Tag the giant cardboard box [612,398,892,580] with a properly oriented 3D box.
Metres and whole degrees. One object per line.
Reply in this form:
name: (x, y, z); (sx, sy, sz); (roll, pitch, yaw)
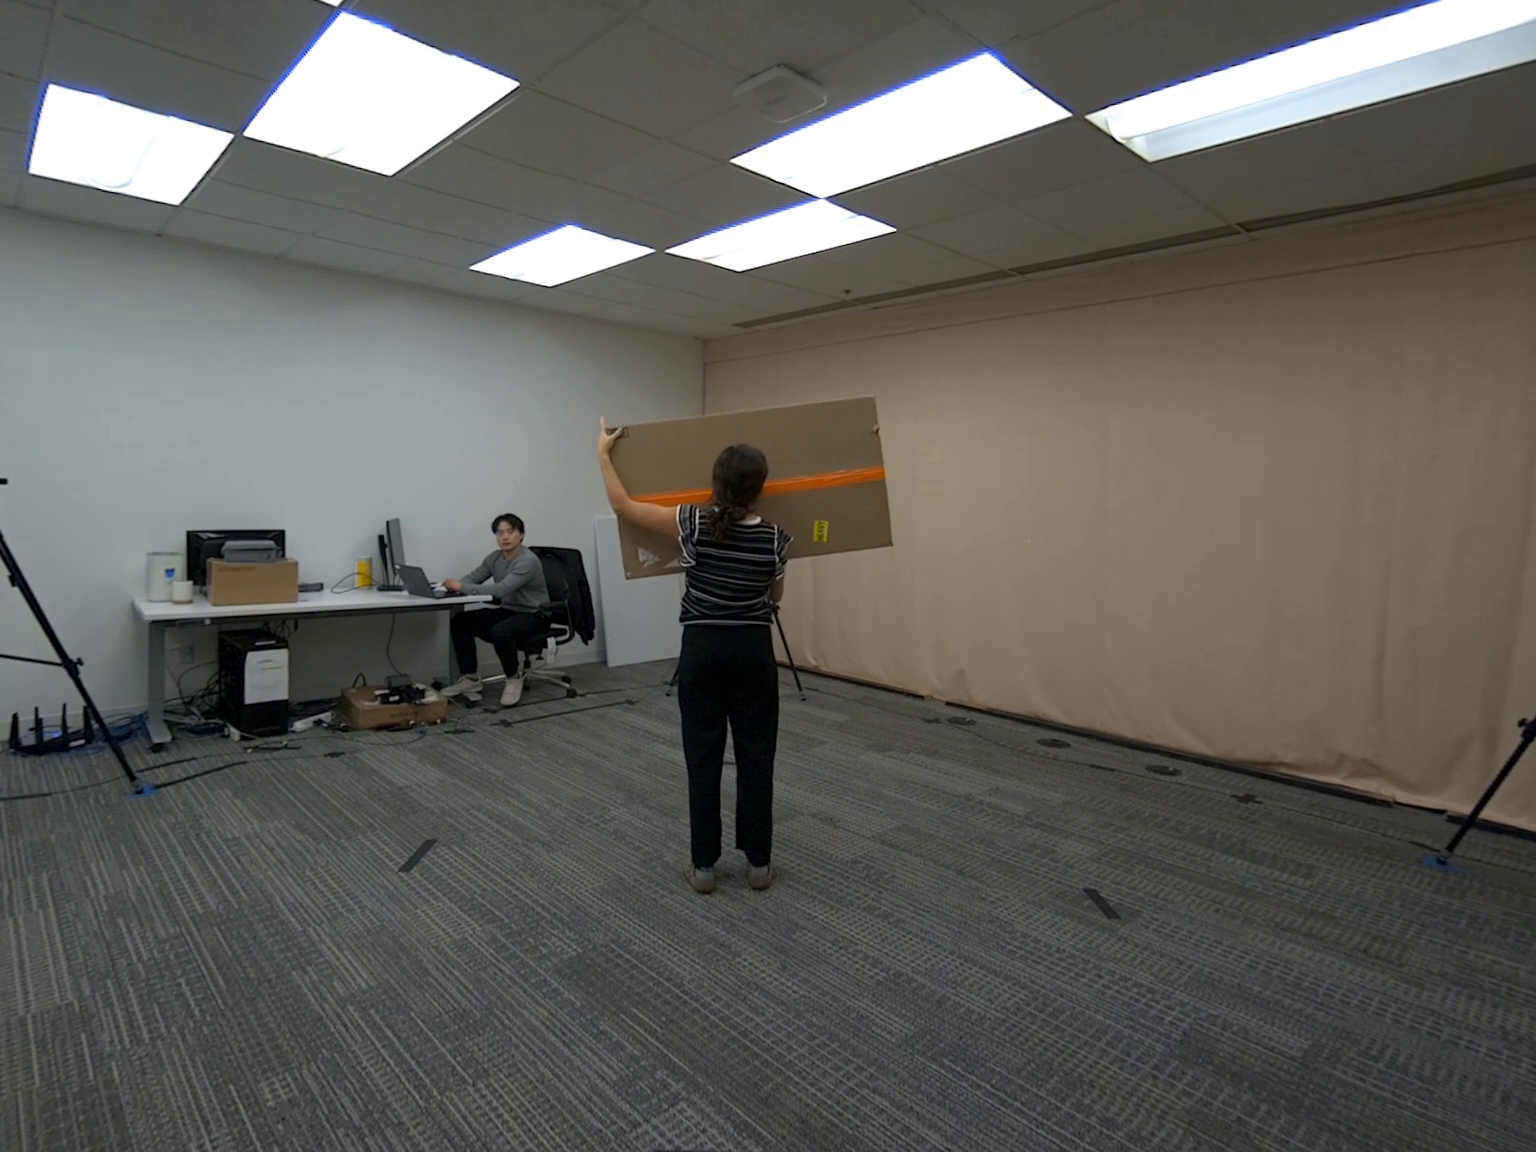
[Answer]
giant cardboard box: (-0.075, -0.348, 3.356); (1.025, 0.576, 0.427); (-7, 4, 0)
